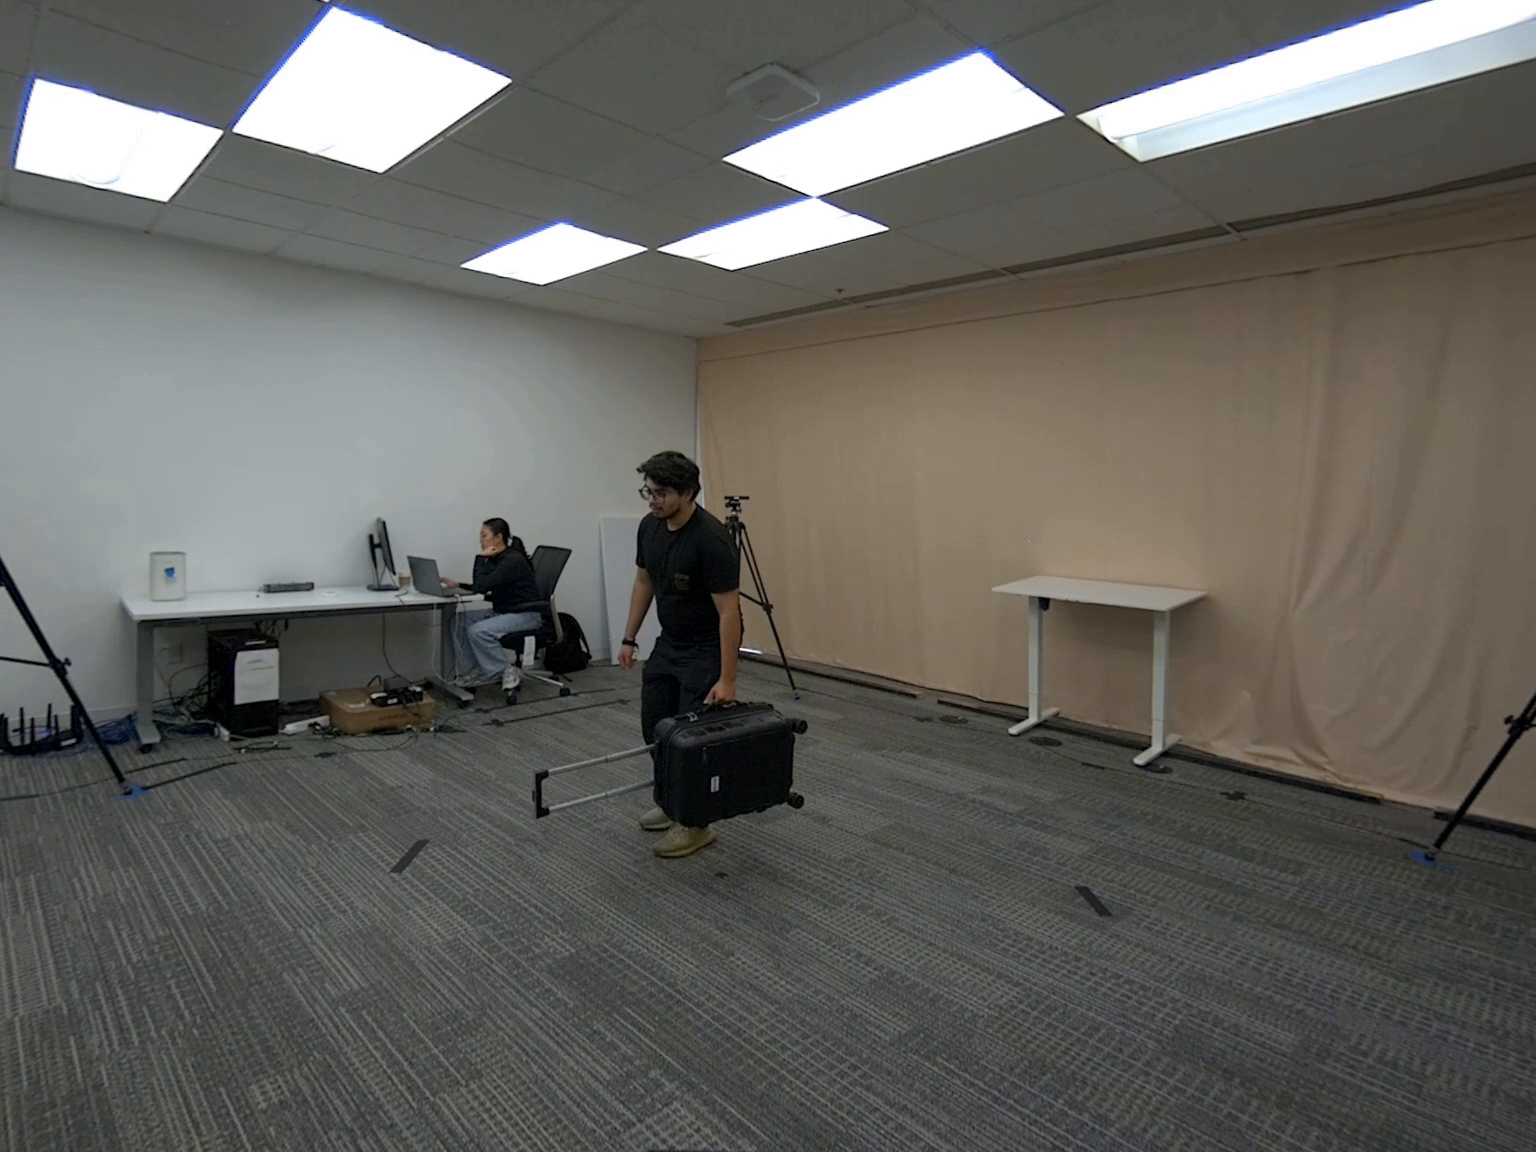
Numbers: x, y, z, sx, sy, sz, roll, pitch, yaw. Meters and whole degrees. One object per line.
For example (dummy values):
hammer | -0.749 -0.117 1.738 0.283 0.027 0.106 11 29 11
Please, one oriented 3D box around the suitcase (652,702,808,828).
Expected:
suitcase | -0.319 0.701 2.985 0.958 0.381 0.264 -5 12 -36
